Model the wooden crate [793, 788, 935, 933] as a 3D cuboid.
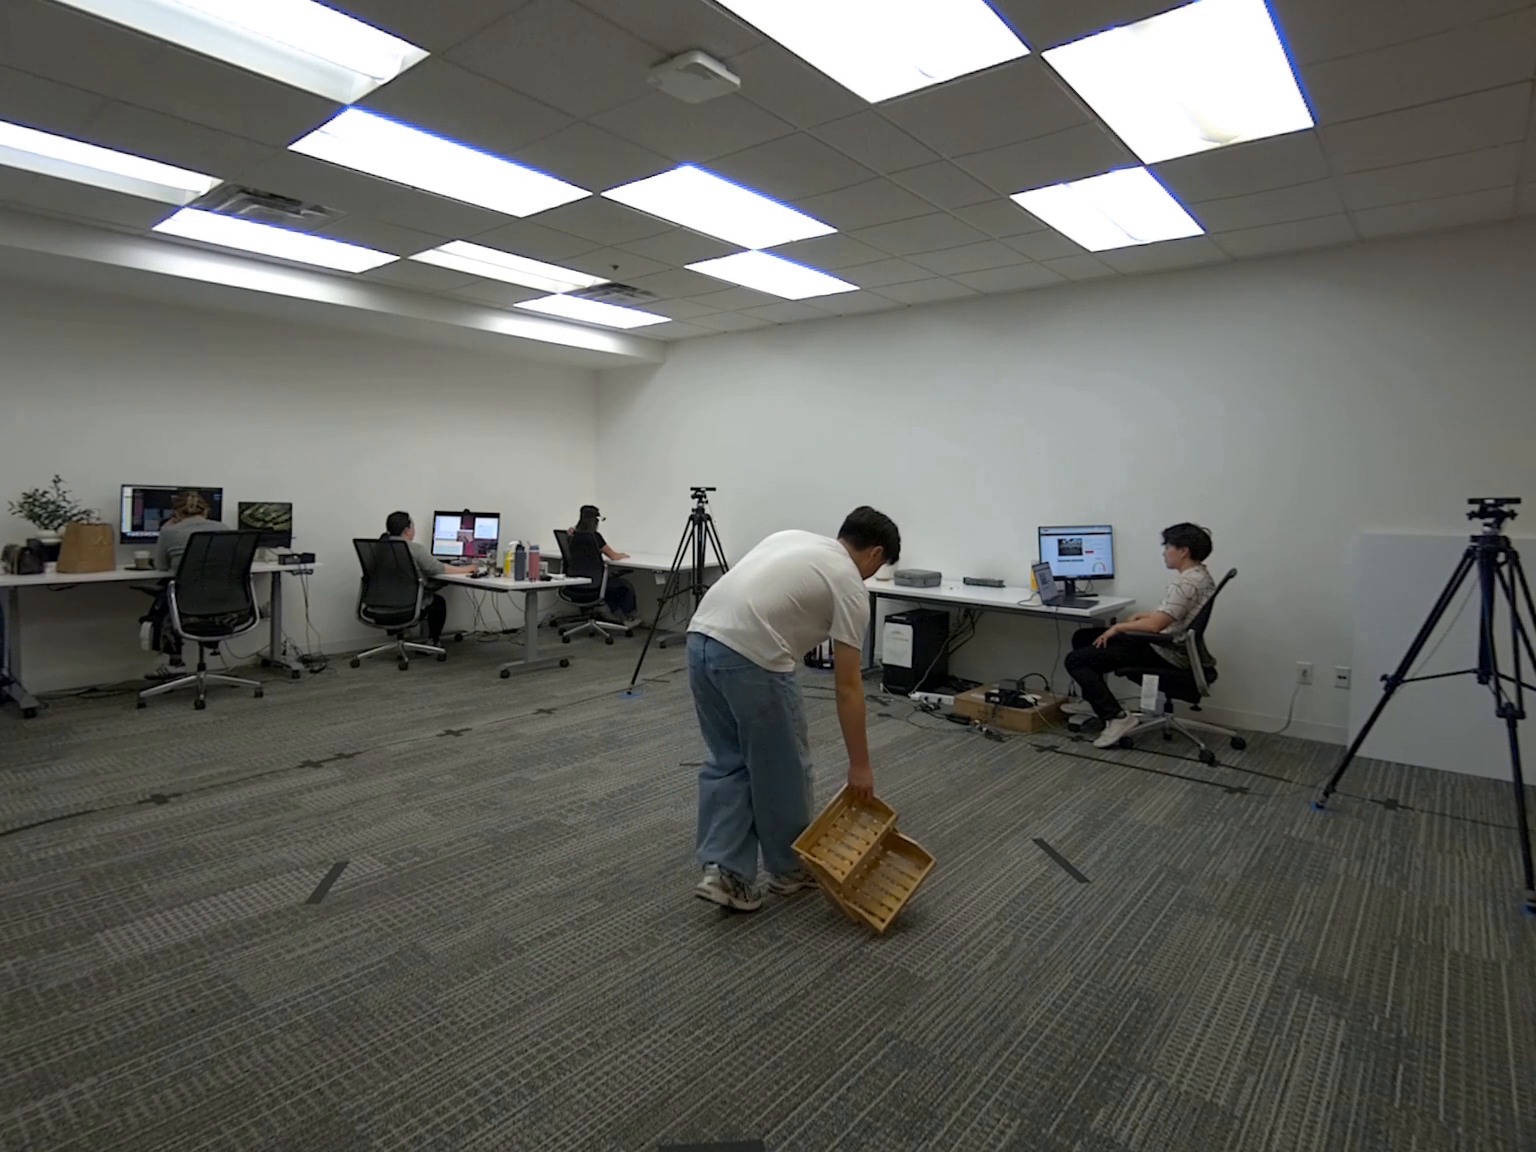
[{"bbox_3d":[0.313,0.915,2.763,0.323,0.265,0.313,-41,30,-27],"label":"wooden crate"}]
